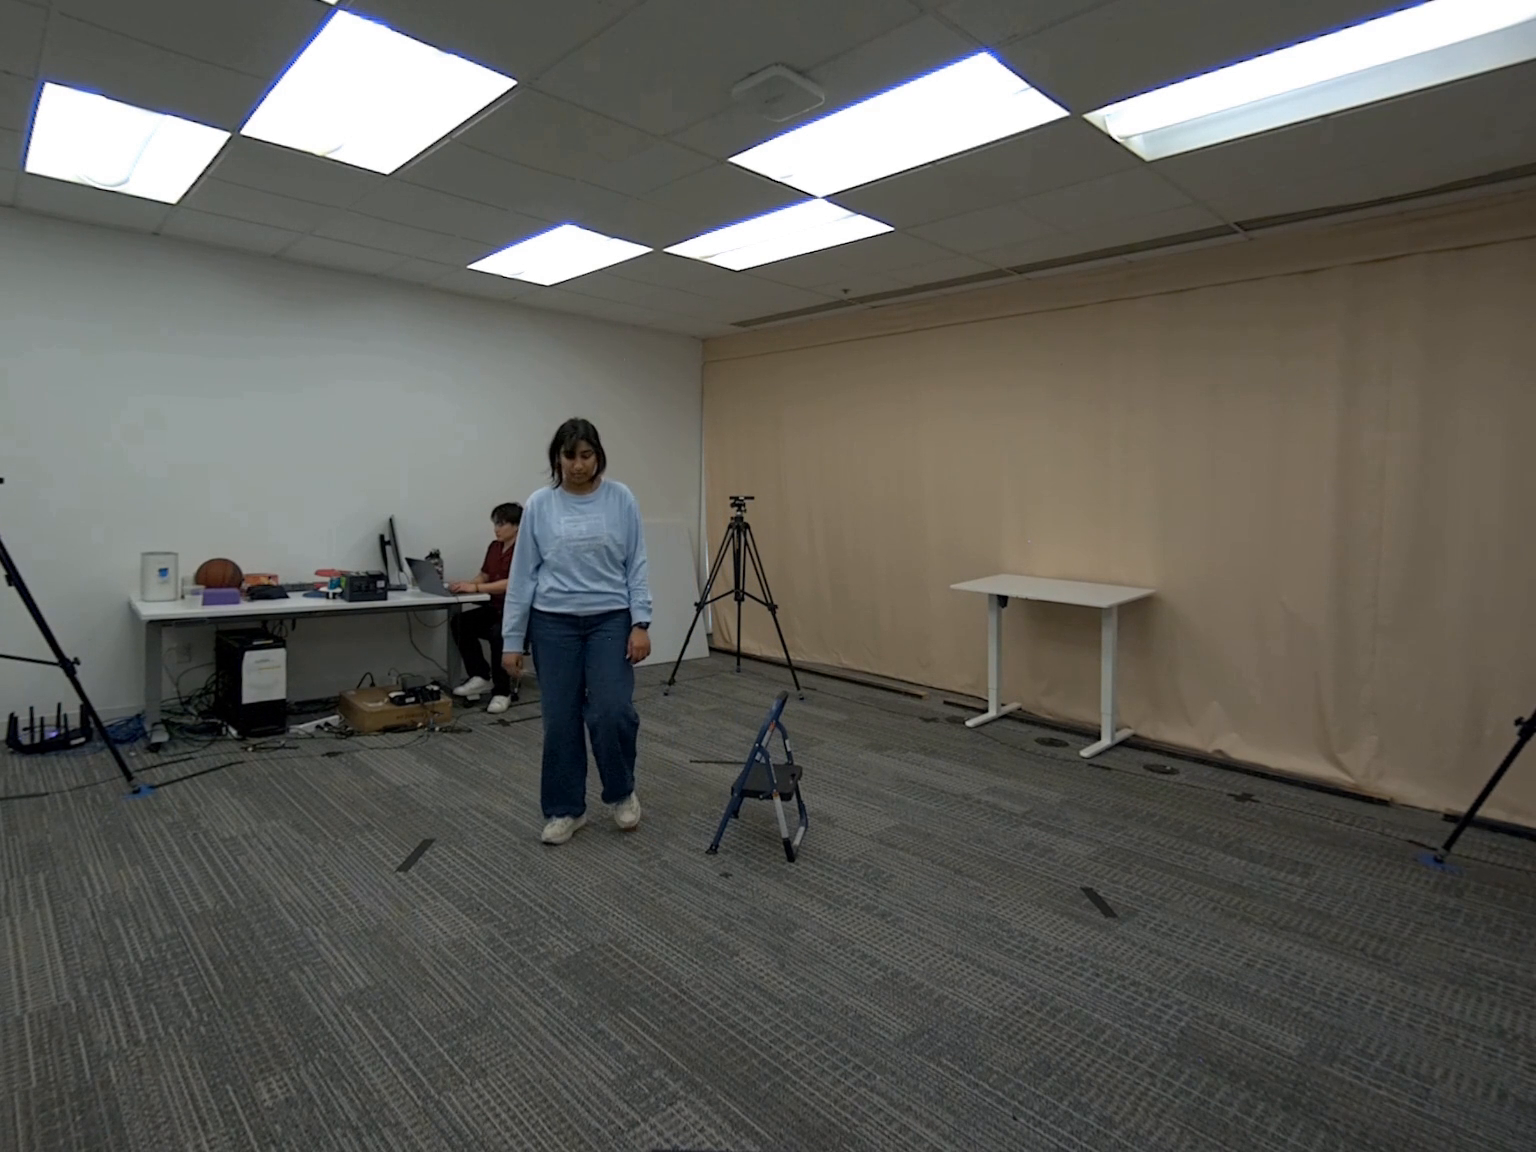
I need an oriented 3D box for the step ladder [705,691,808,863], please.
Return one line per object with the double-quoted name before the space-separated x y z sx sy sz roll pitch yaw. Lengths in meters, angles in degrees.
"step ladder" -0.032 0.776 3.443 0.353 0.604 0.427 2 4 11
